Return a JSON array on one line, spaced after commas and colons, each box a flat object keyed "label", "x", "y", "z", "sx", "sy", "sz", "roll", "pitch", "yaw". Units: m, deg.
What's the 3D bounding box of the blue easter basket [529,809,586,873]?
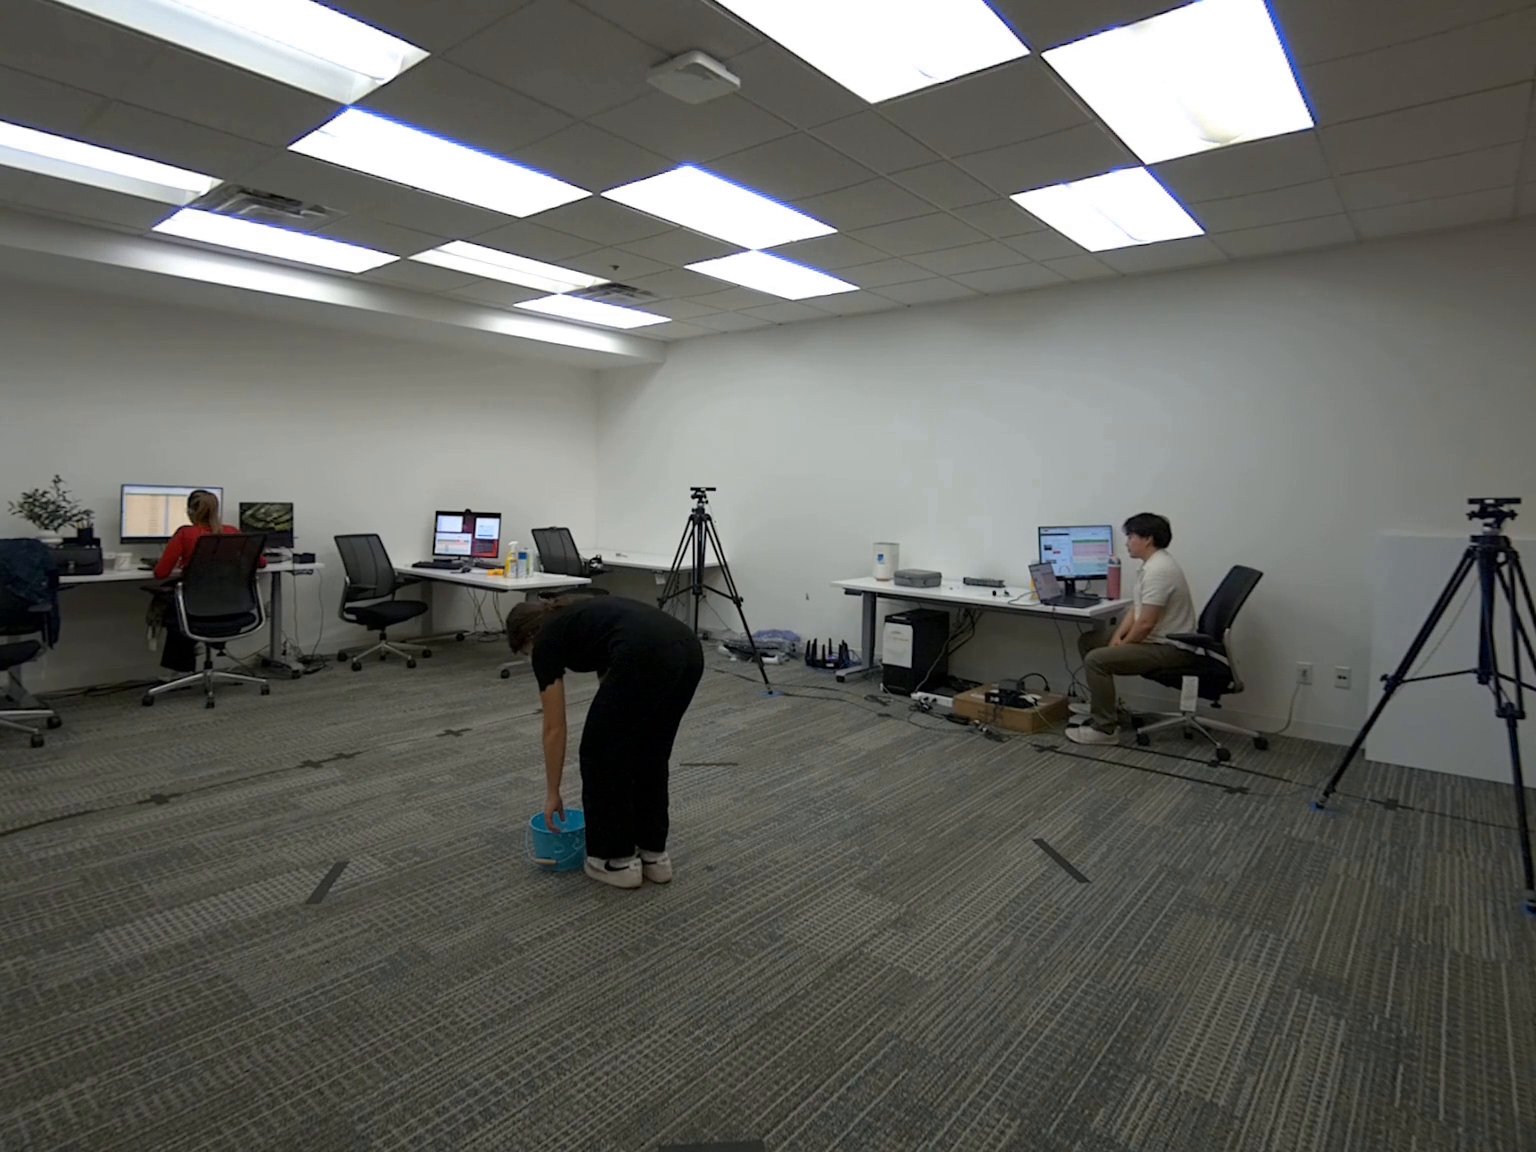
[{"label": "blue easter basket", "x": -0.783, "y": 0.973, "z": 3.150, "sx": 0.243, "sy": 0.155, "sz": 0.245, "roll": 1, "pitch": 5, "yaw": -2}]
